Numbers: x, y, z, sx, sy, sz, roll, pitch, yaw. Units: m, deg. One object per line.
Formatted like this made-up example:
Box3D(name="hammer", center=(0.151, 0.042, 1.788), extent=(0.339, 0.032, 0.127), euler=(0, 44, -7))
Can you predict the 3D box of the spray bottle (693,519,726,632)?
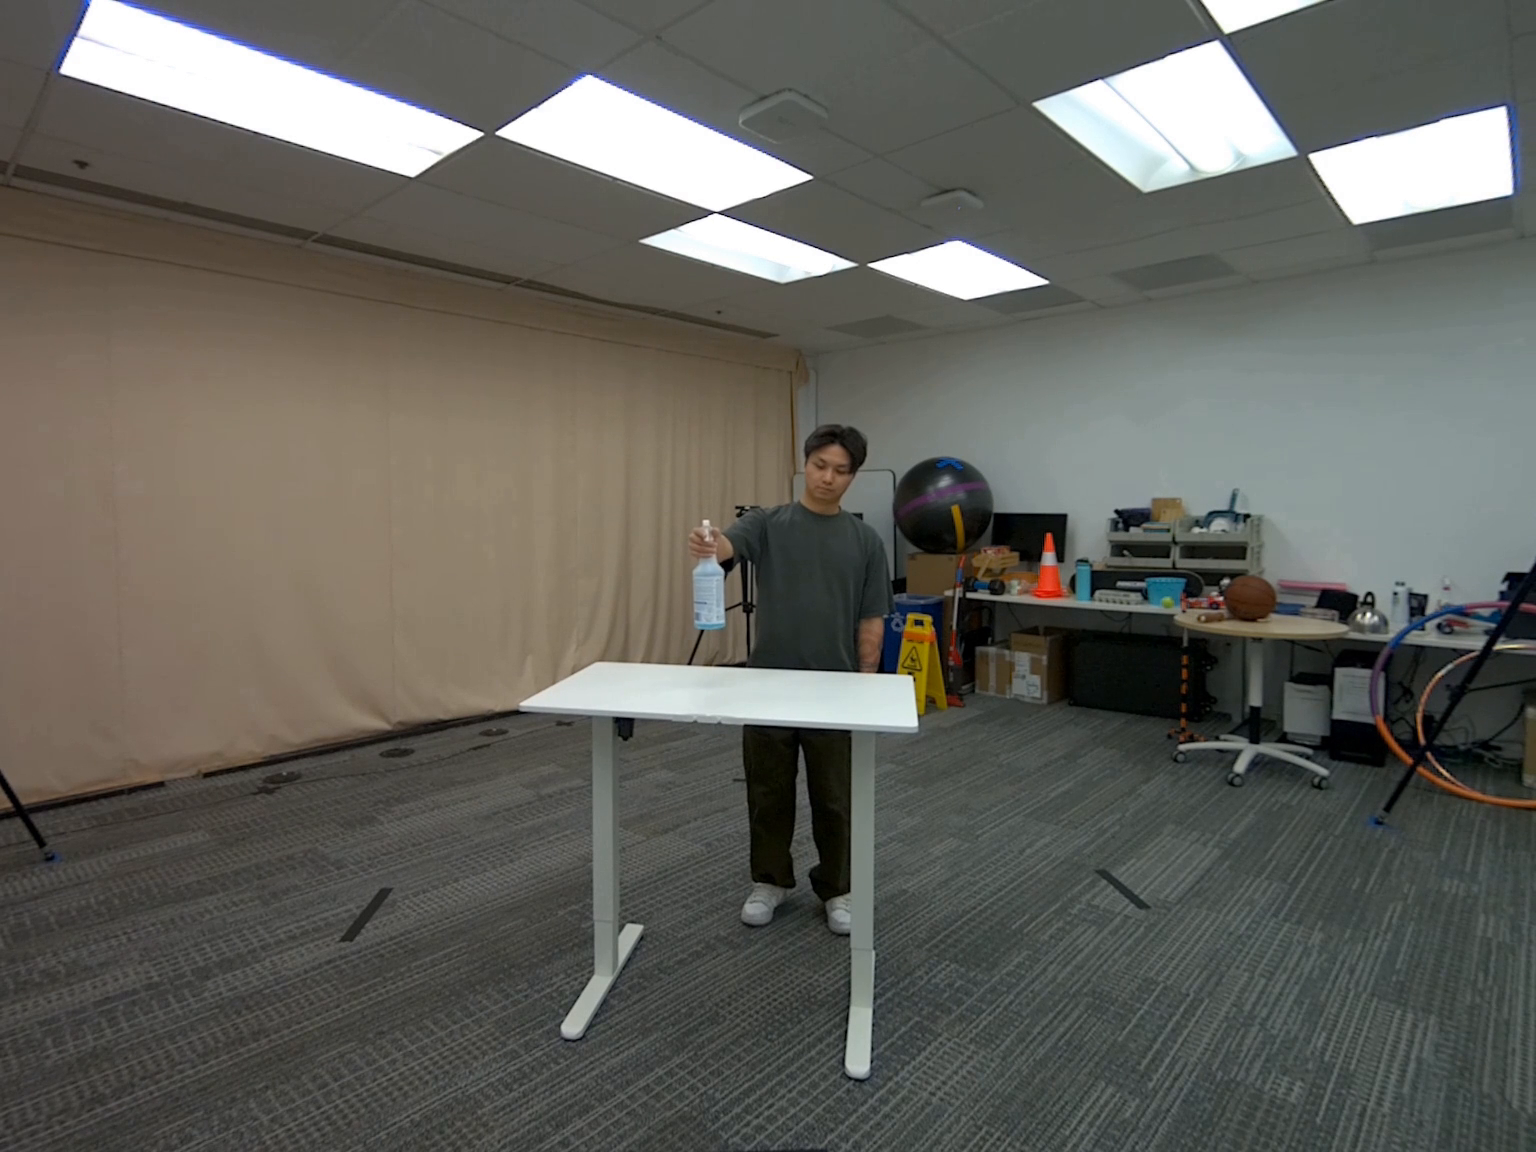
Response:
Box3D(name="spray bottle", center=(-0.164, -0.004, 2.314), extent=(0.089, 0.297, 0.088), euler=(-1, 3, 27))
